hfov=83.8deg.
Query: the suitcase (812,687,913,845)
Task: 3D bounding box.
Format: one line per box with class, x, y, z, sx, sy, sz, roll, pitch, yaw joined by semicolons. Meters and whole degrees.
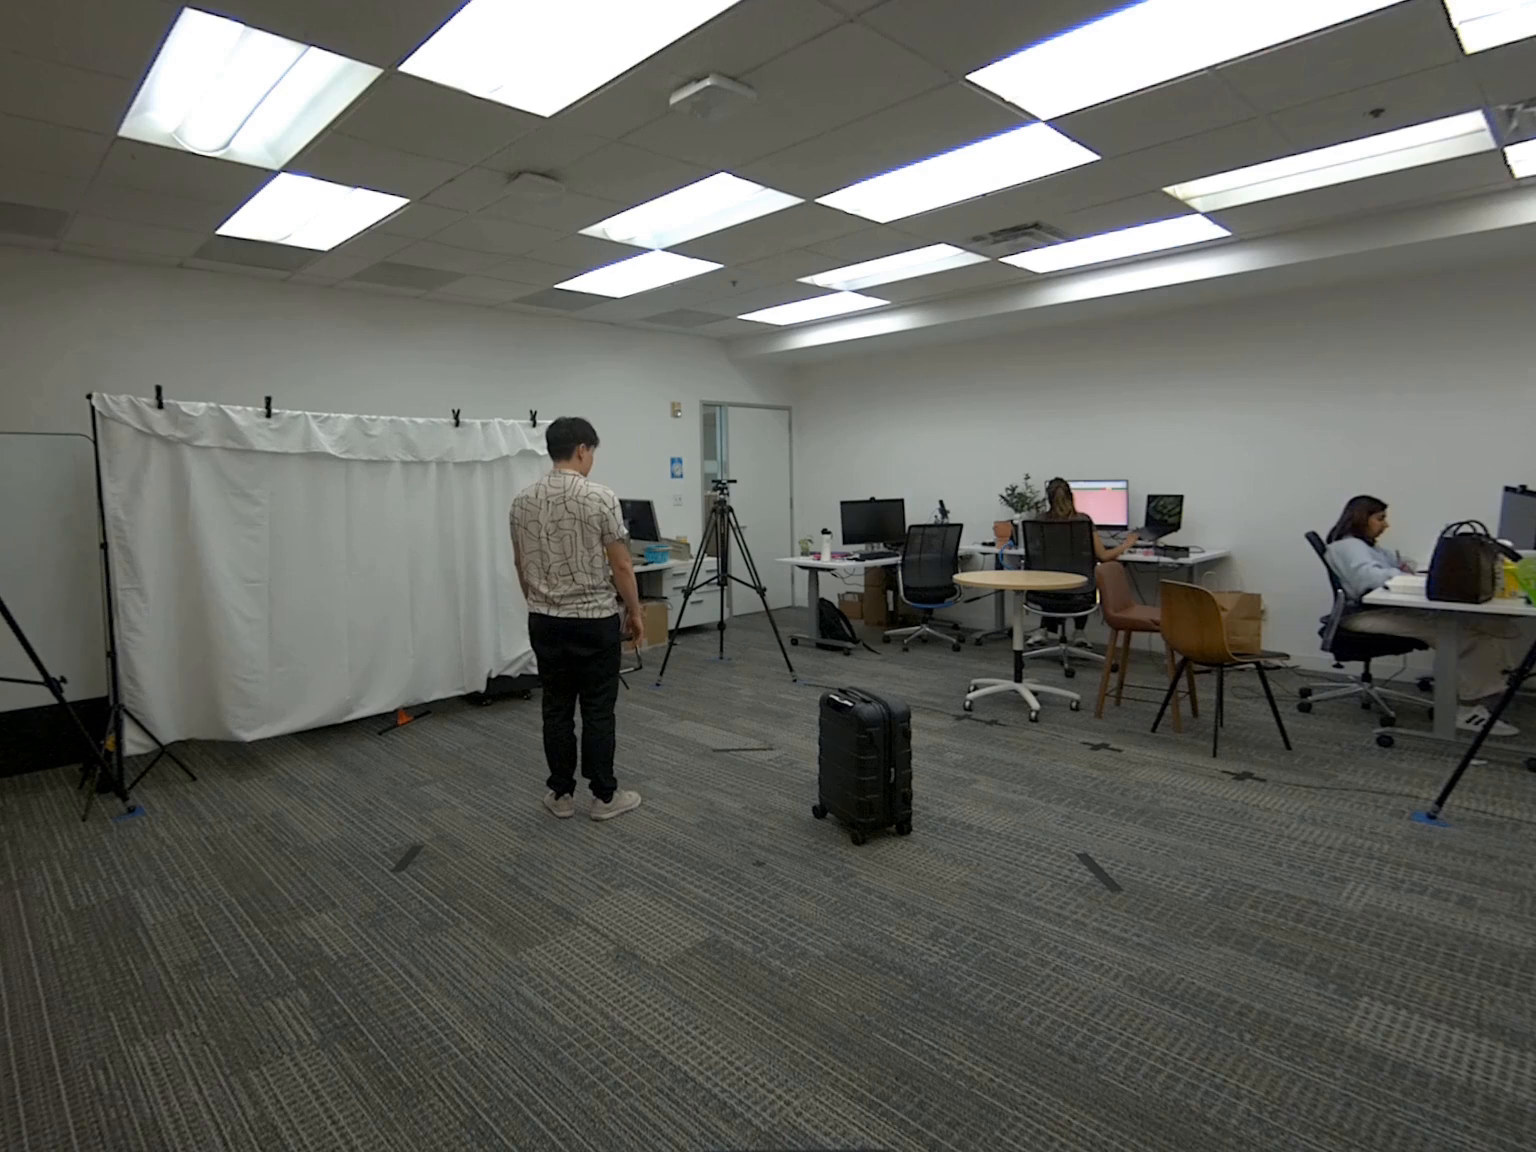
suitcase;0.385;0.728;3.413;0.243;0.547;0.384;-3;5;-24
